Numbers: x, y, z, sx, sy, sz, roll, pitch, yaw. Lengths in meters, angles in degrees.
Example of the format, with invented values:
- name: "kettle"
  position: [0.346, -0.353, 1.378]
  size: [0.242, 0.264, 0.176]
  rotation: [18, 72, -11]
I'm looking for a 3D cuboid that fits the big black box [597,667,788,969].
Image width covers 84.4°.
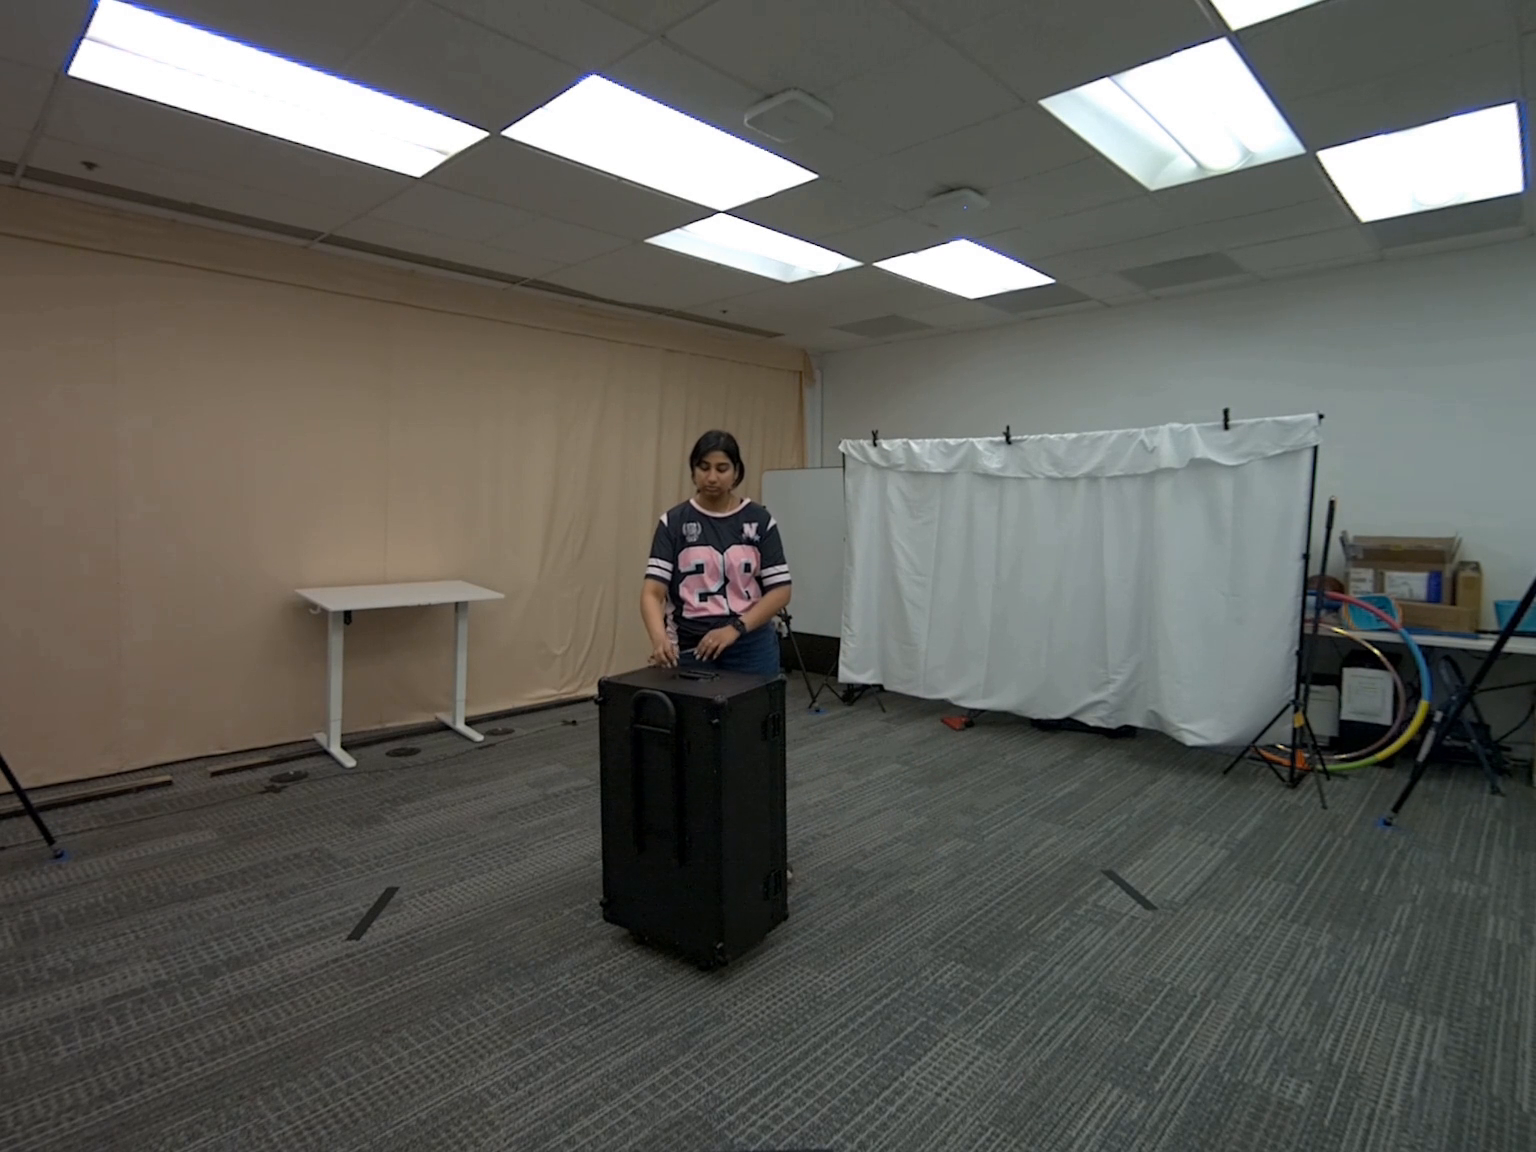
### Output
- name: "big black box"
  position: [-0.227, 0.746, 2.667]
  size: [0.539, 0.866, 0.374]
  rotation: [2, 4, 34]
